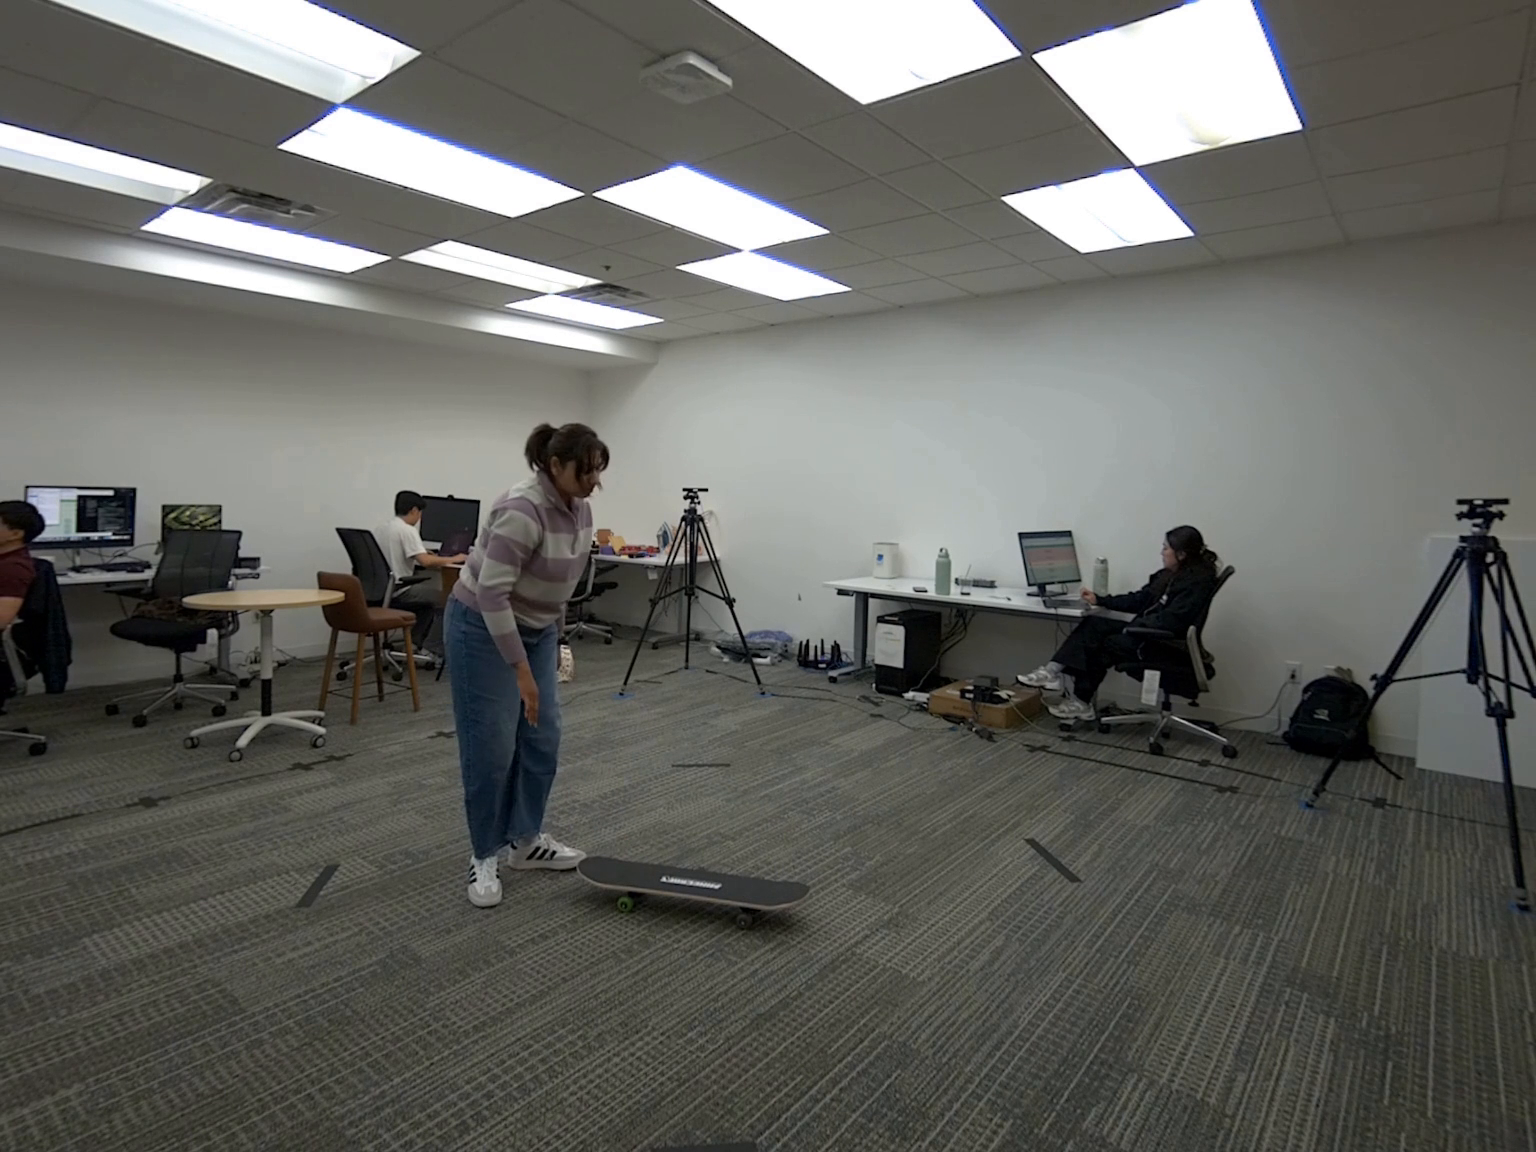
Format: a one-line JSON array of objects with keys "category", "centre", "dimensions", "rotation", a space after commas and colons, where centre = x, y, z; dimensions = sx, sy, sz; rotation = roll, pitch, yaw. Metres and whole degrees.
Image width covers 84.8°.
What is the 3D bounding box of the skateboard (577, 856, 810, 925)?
[{"category": "skateboard", "centre": [-0.265, 1.038, 2.810], "dimensions": [0.796, 0.110, 0.191], "rotation": [2, 4, 12]}]
